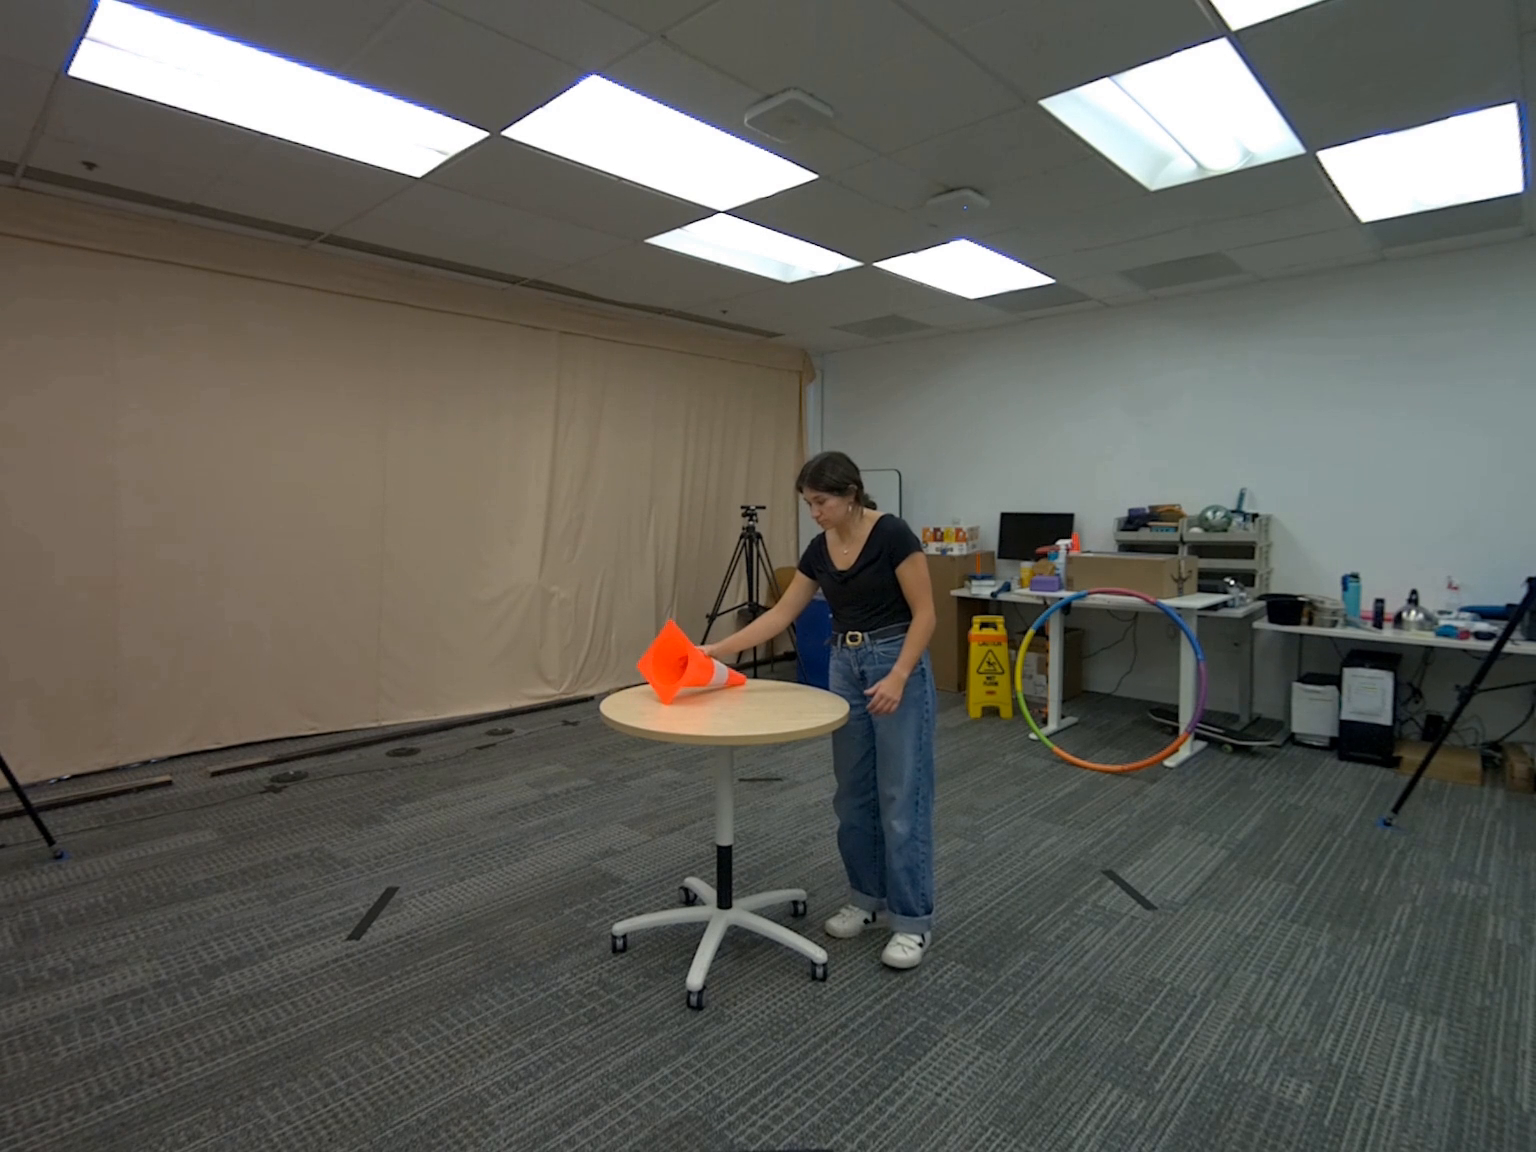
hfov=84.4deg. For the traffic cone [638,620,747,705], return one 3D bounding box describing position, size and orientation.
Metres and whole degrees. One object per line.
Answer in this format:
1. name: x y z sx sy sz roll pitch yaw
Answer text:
1. traffic cone: -0.188 0.321 2.750 0.370 0.203 0.212 21 17 -47
